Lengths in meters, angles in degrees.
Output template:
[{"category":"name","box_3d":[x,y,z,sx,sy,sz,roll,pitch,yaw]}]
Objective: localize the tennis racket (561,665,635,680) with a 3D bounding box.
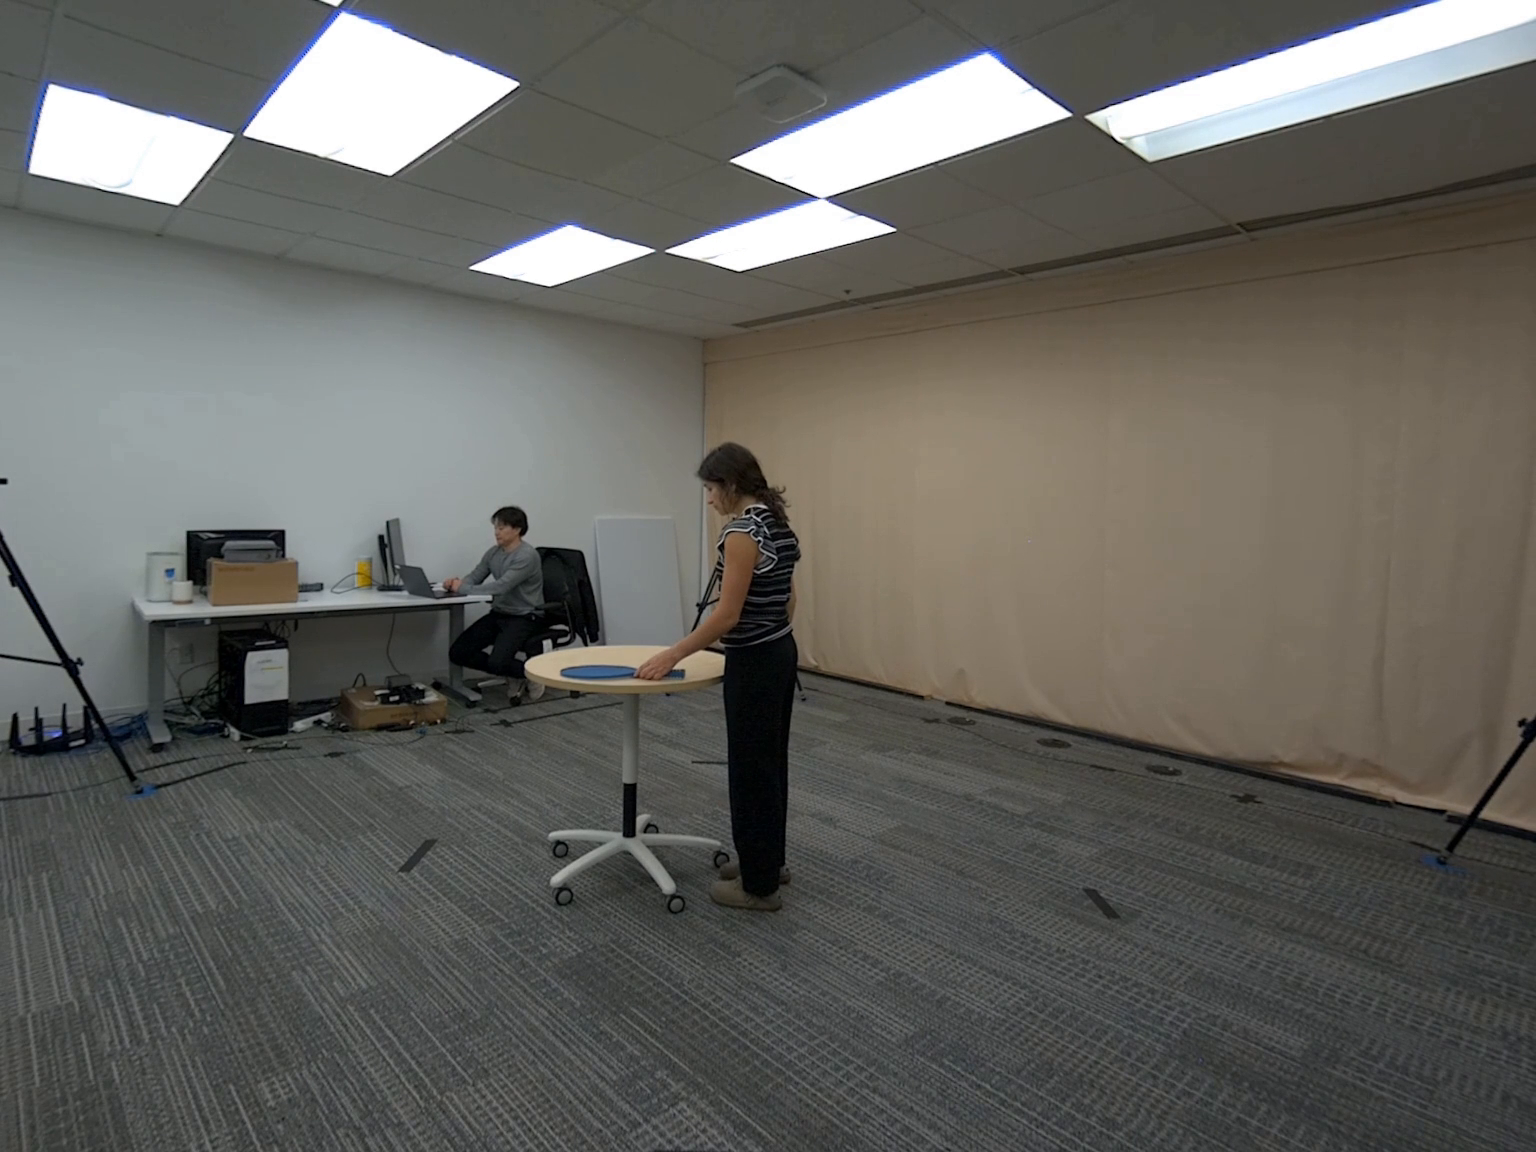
[{"category":"tennis racket","box_3d":[-0.493,0.327,2.841,0.435,0.032,0.213,0,4,6]}]
